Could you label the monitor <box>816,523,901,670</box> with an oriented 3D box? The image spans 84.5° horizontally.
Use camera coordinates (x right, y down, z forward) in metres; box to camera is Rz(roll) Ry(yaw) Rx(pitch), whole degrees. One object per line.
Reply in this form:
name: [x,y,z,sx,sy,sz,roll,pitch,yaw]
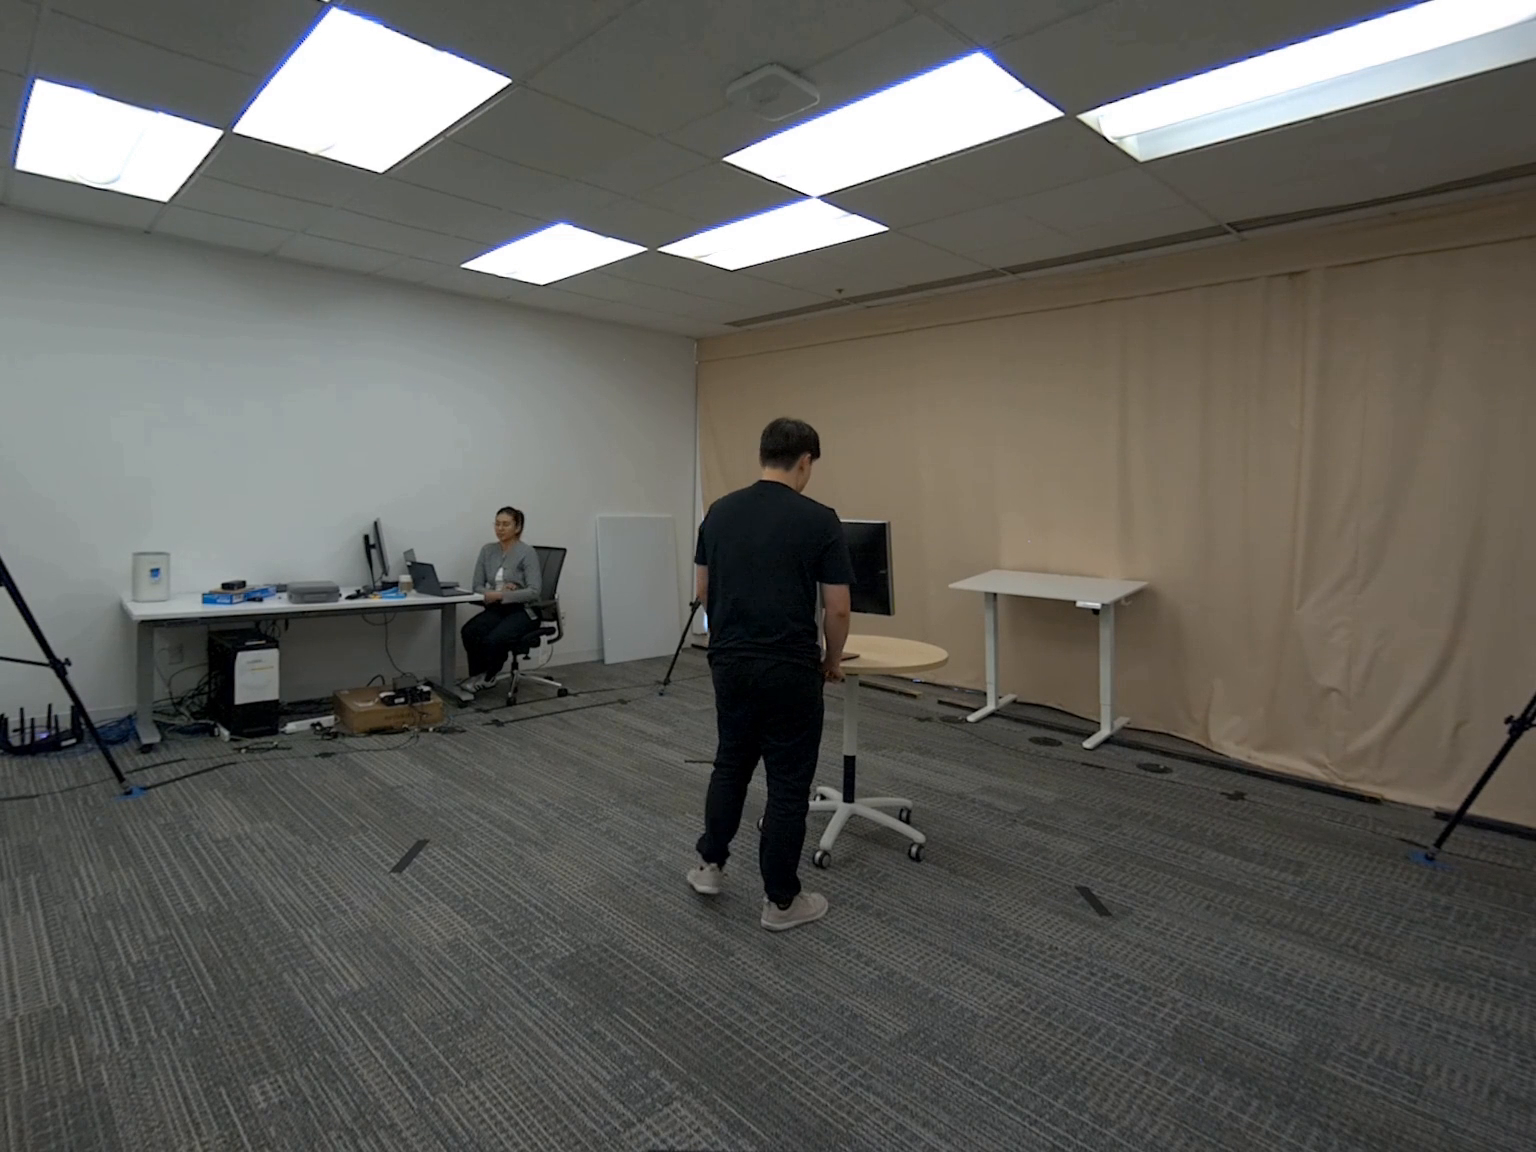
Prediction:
monitor: [0.215,0.052,3.300,0.552,0.522,0.183,5,3,38]
